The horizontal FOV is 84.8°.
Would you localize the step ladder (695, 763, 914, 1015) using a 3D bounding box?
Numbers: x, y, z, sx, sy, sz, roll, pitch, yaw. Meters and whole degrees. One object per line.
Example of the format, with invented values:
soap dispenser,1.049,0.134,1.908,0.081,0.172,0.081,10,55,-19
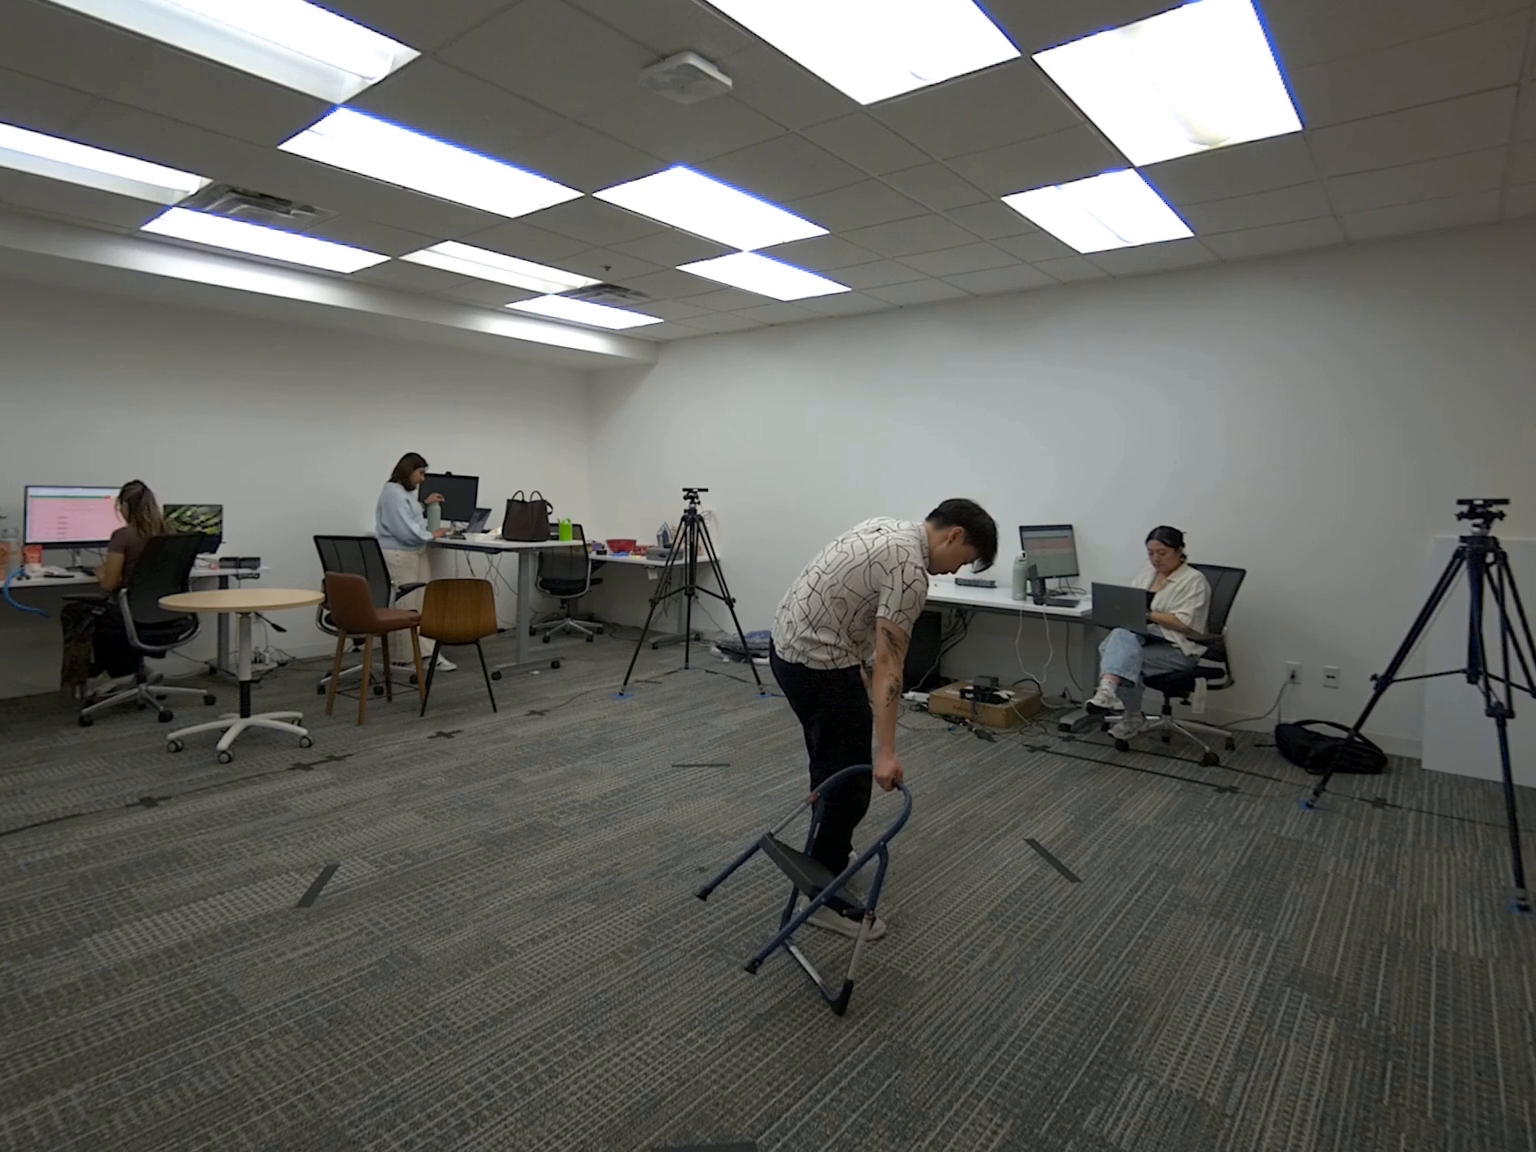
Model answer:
step ladder,0.144,0.806,2.432,0.340,0.607,0.441,35,-8,-21
